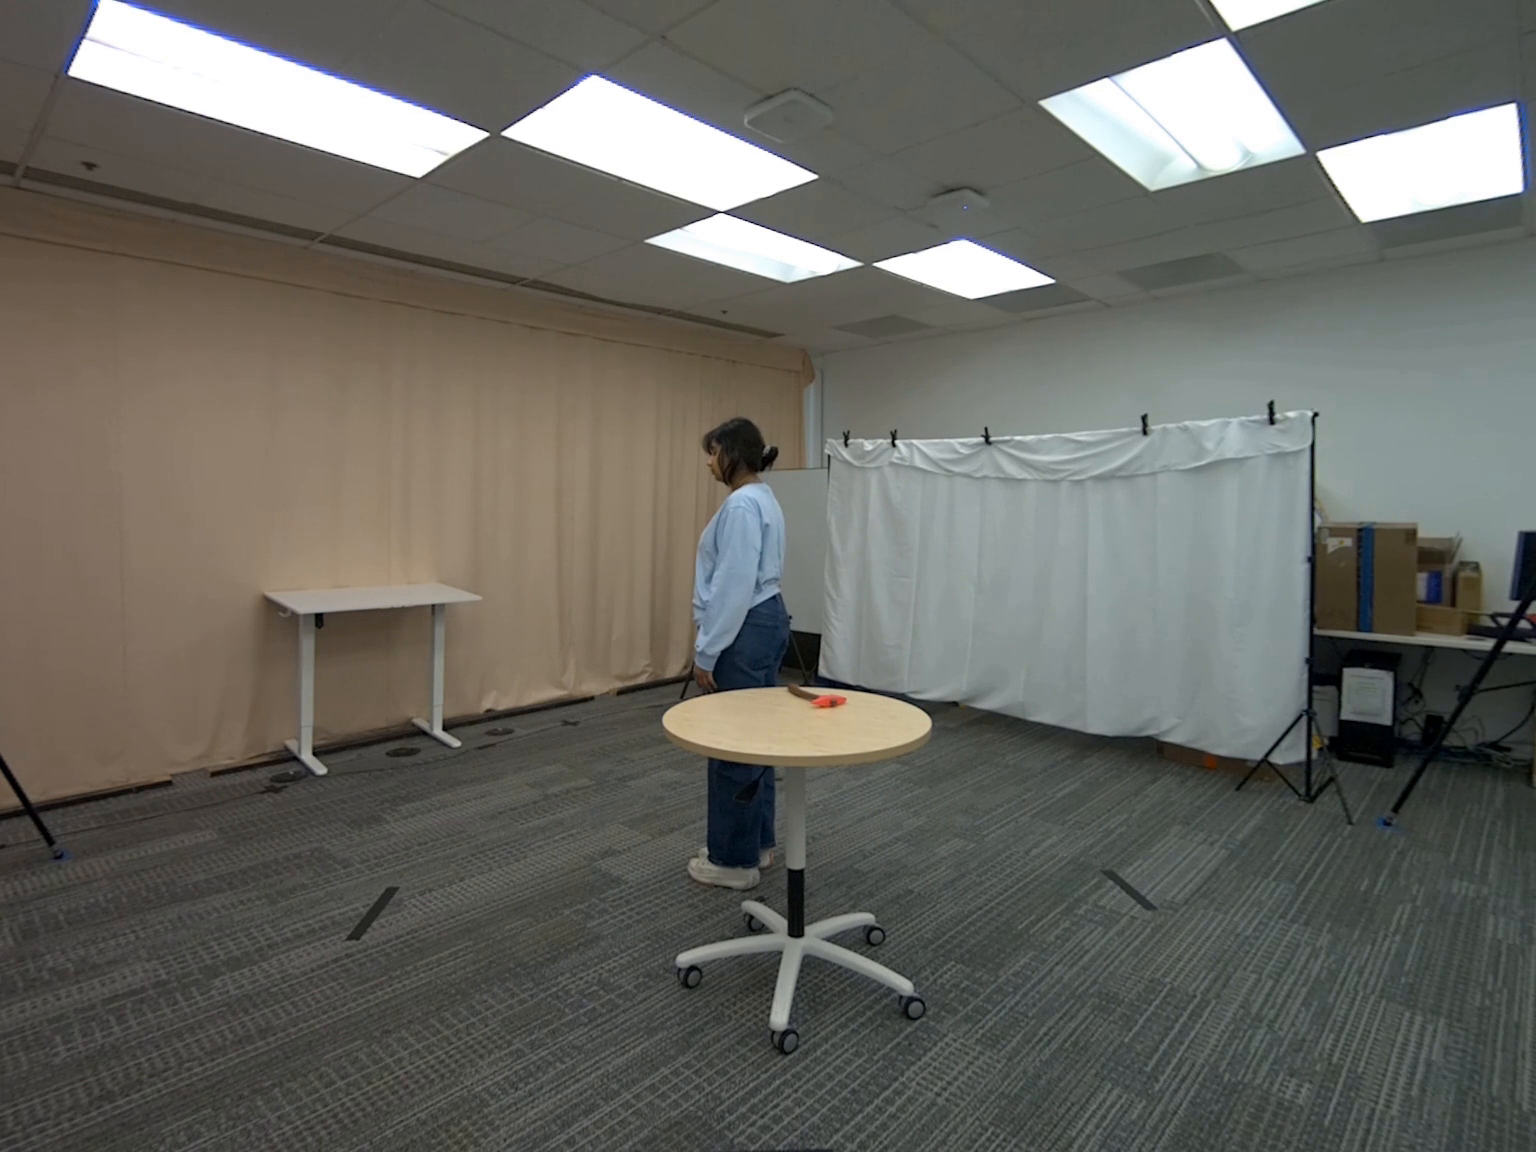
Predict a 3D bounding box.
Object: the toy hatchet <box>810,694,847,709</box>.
[{"bbox_3d":[0.175,0.373,2.654,0.129,0.029,0.274,-2,4,-12],"label":"toy hatchet"}]
